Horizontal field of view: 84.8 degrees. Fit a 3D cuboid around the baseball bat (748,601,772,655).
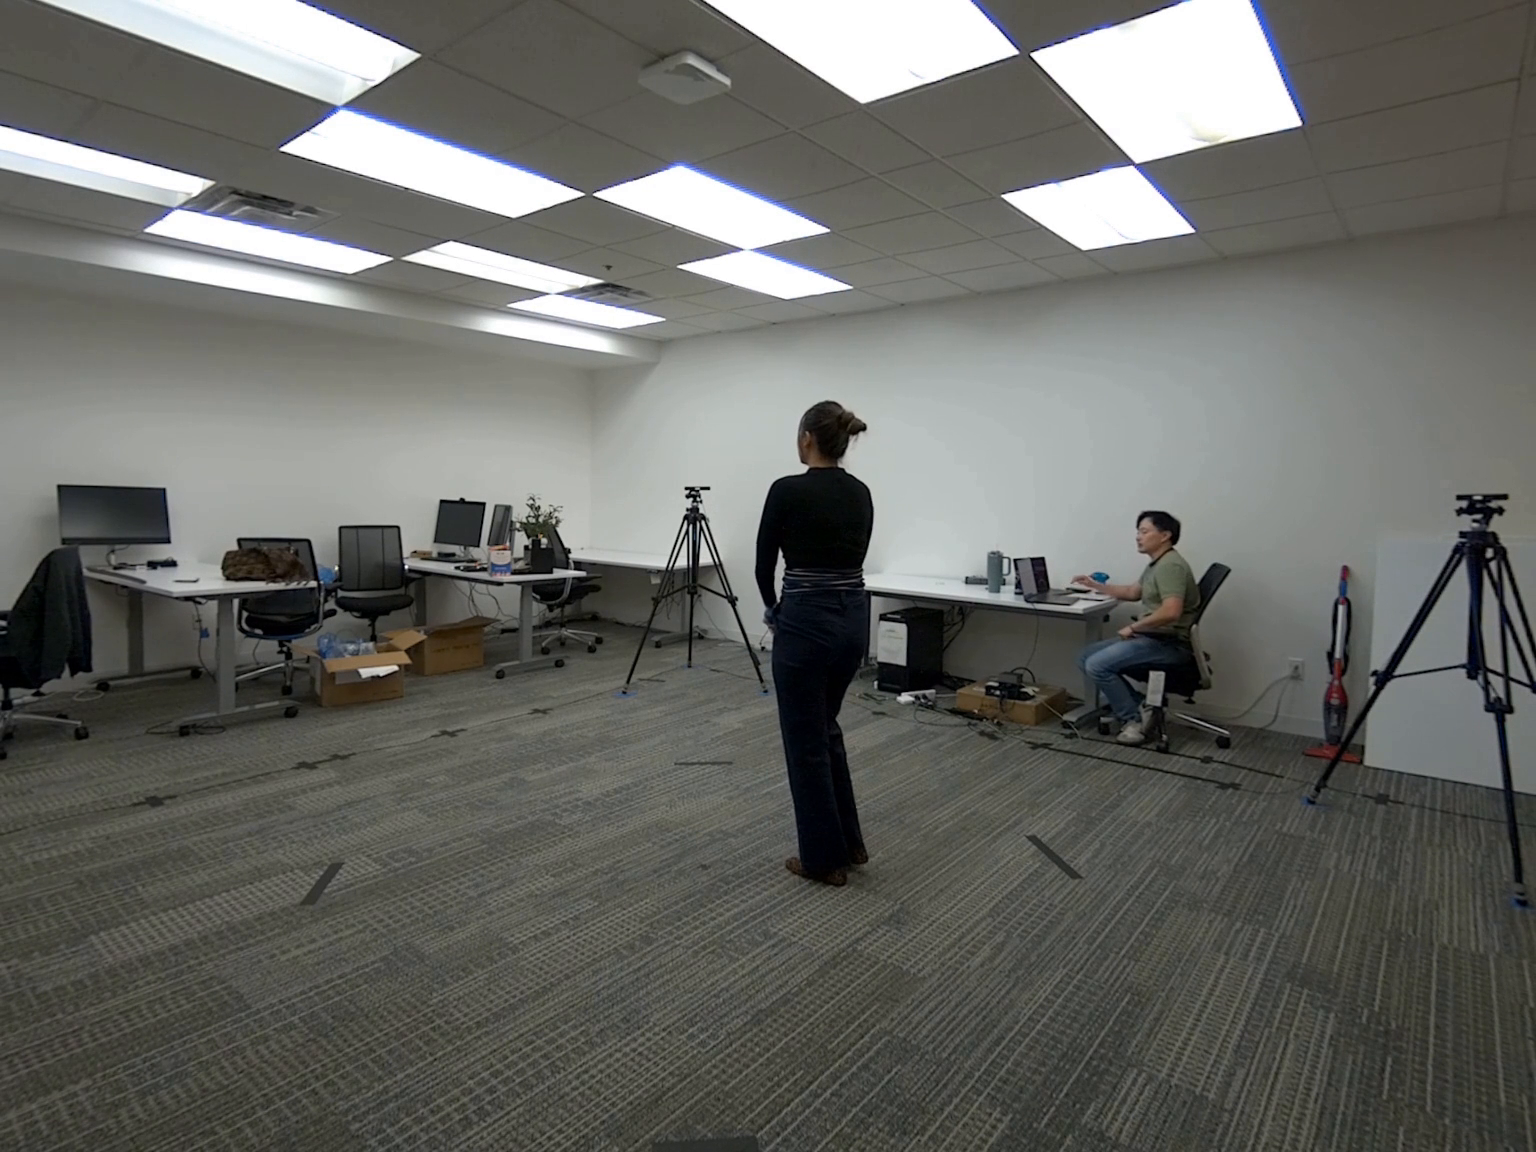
[{"bbox_3d":[0.063,0.278,3.406,0.091,0.090,0.521,3,-31,26],"label":"baseball bat"}]
